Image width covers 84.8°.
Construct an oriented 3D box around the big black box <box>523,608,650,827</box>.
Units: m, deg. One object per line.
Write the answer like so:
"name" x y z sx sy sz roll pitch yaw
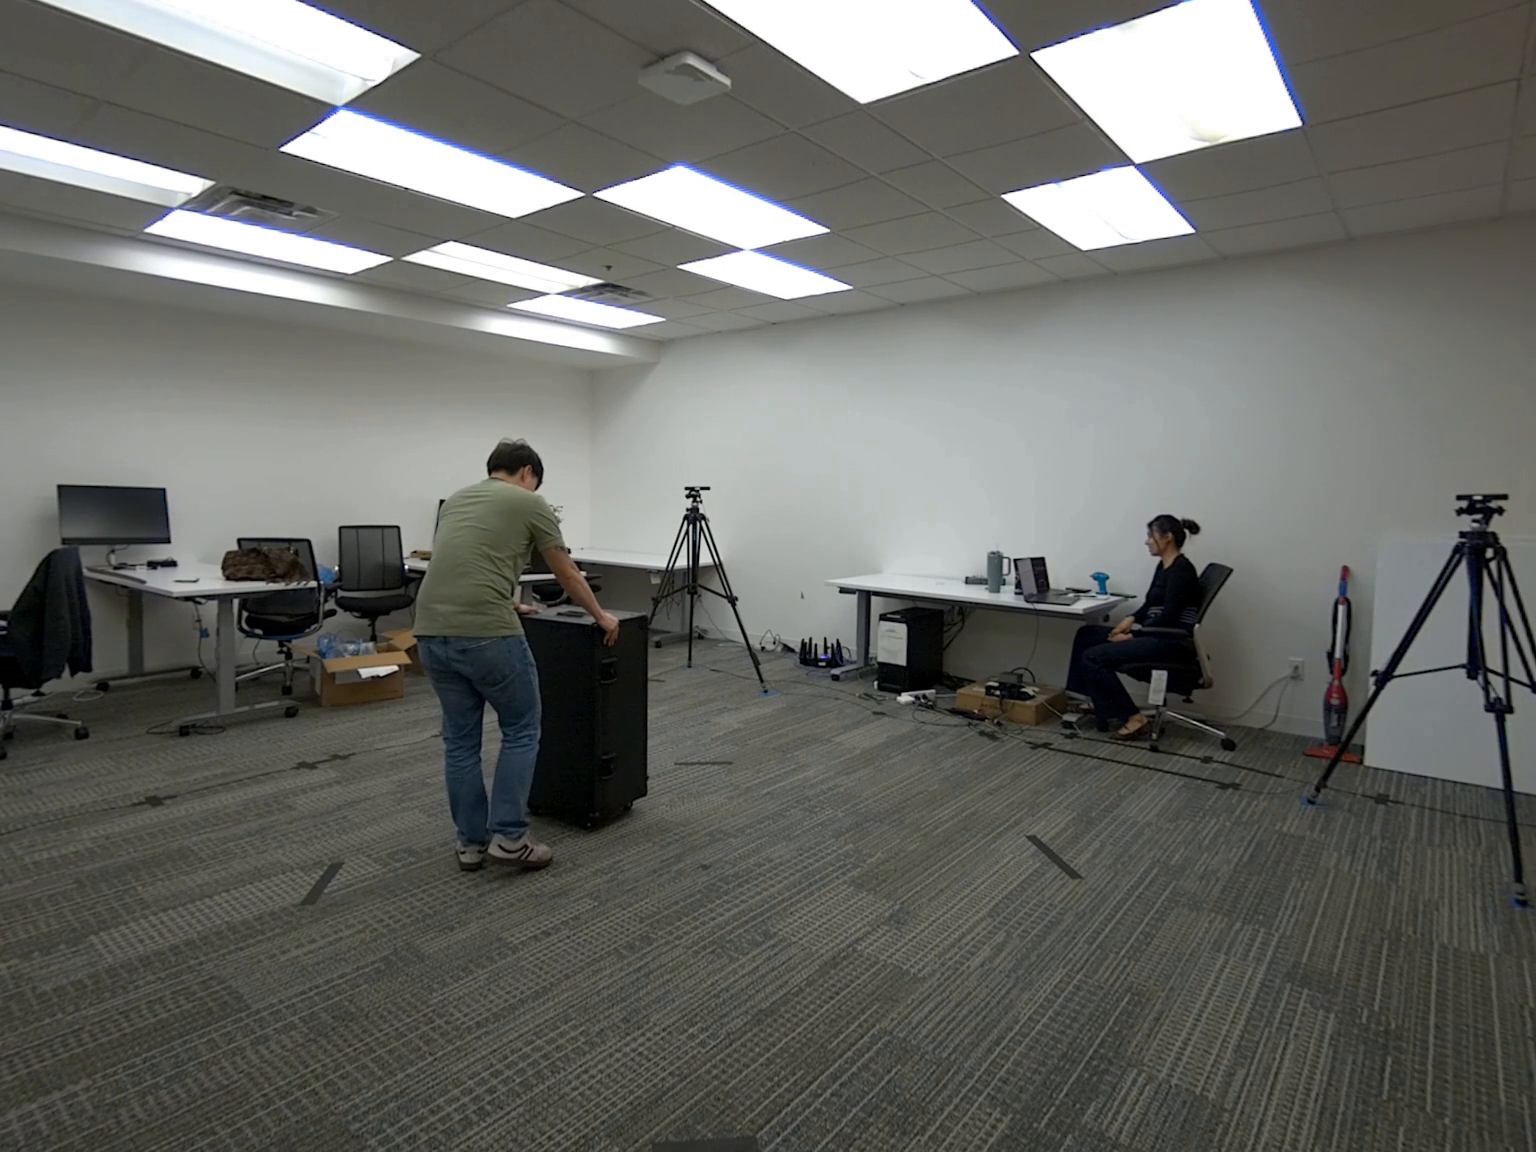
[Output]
"big black box" -0.815 0.581 3.623 0.537 0.860 0.385 2 2 31
